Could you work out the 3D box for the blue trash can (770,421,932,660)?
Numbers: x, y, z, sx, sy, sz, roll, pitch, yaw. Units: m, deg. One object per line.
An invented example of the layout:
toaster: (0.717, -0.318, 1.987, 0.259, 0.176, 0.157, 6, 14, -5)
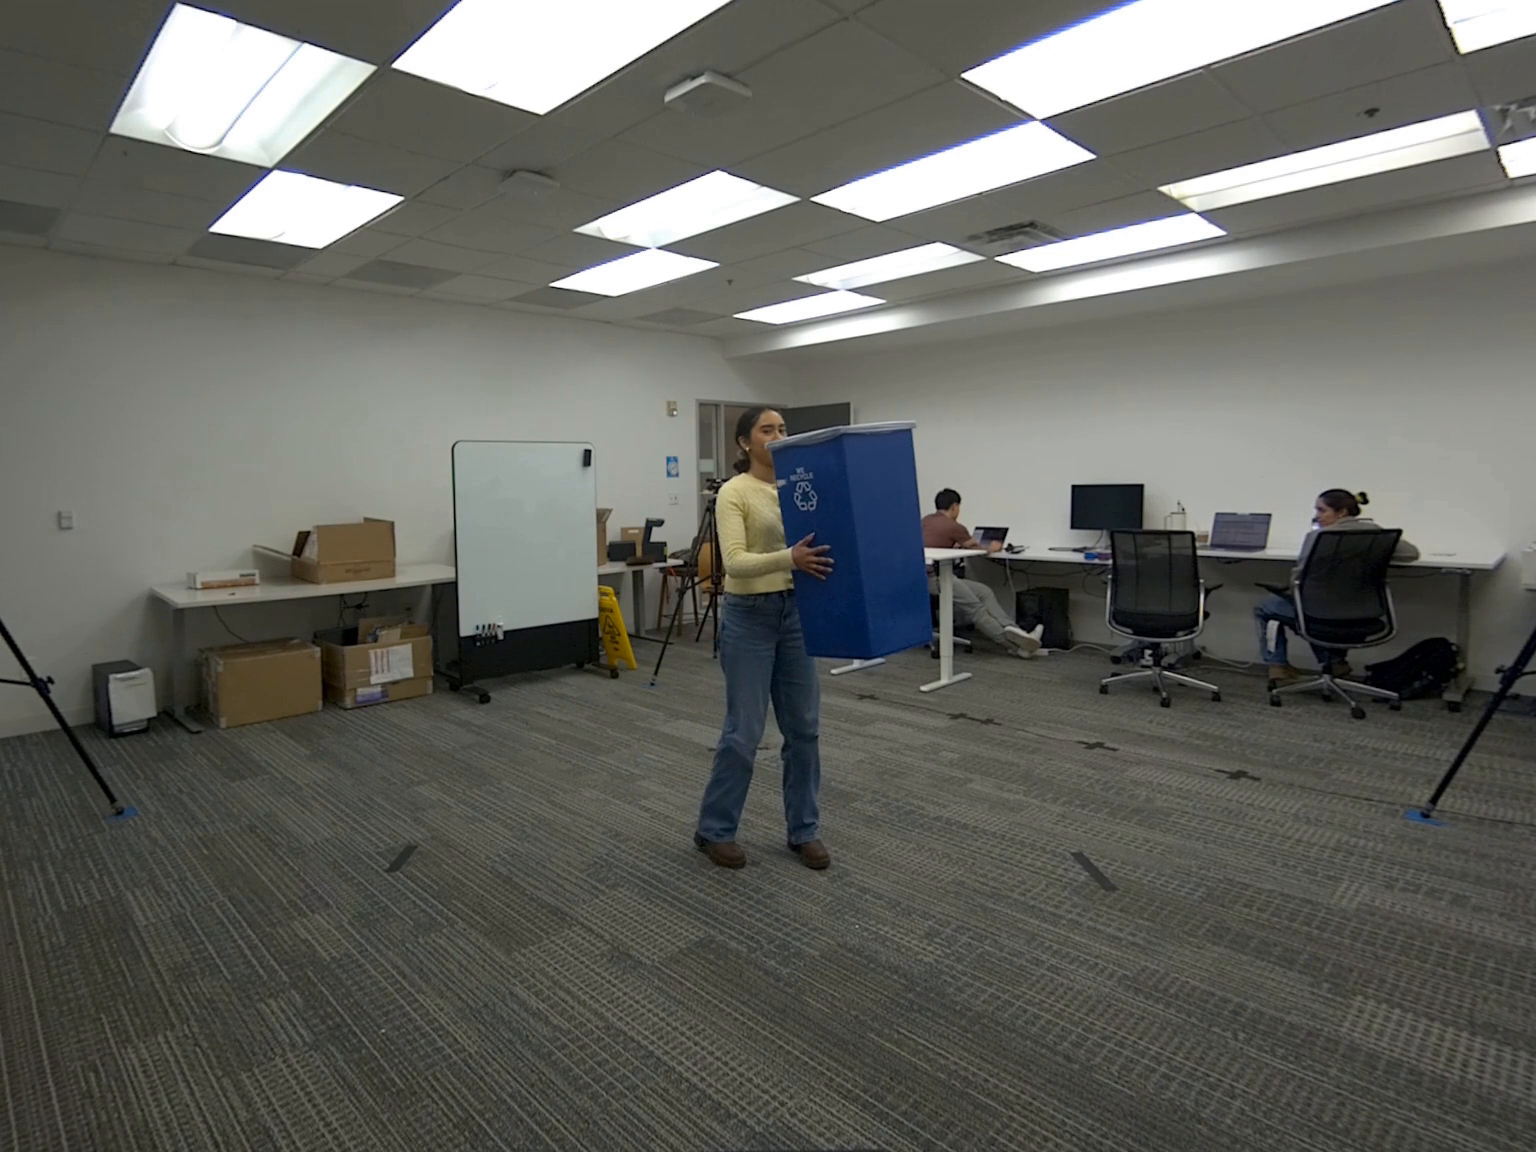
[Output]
blue trash can: (0.283, -0.118, 2.781, 0.369, 0.712, 0.383, -10, 2, -38)
